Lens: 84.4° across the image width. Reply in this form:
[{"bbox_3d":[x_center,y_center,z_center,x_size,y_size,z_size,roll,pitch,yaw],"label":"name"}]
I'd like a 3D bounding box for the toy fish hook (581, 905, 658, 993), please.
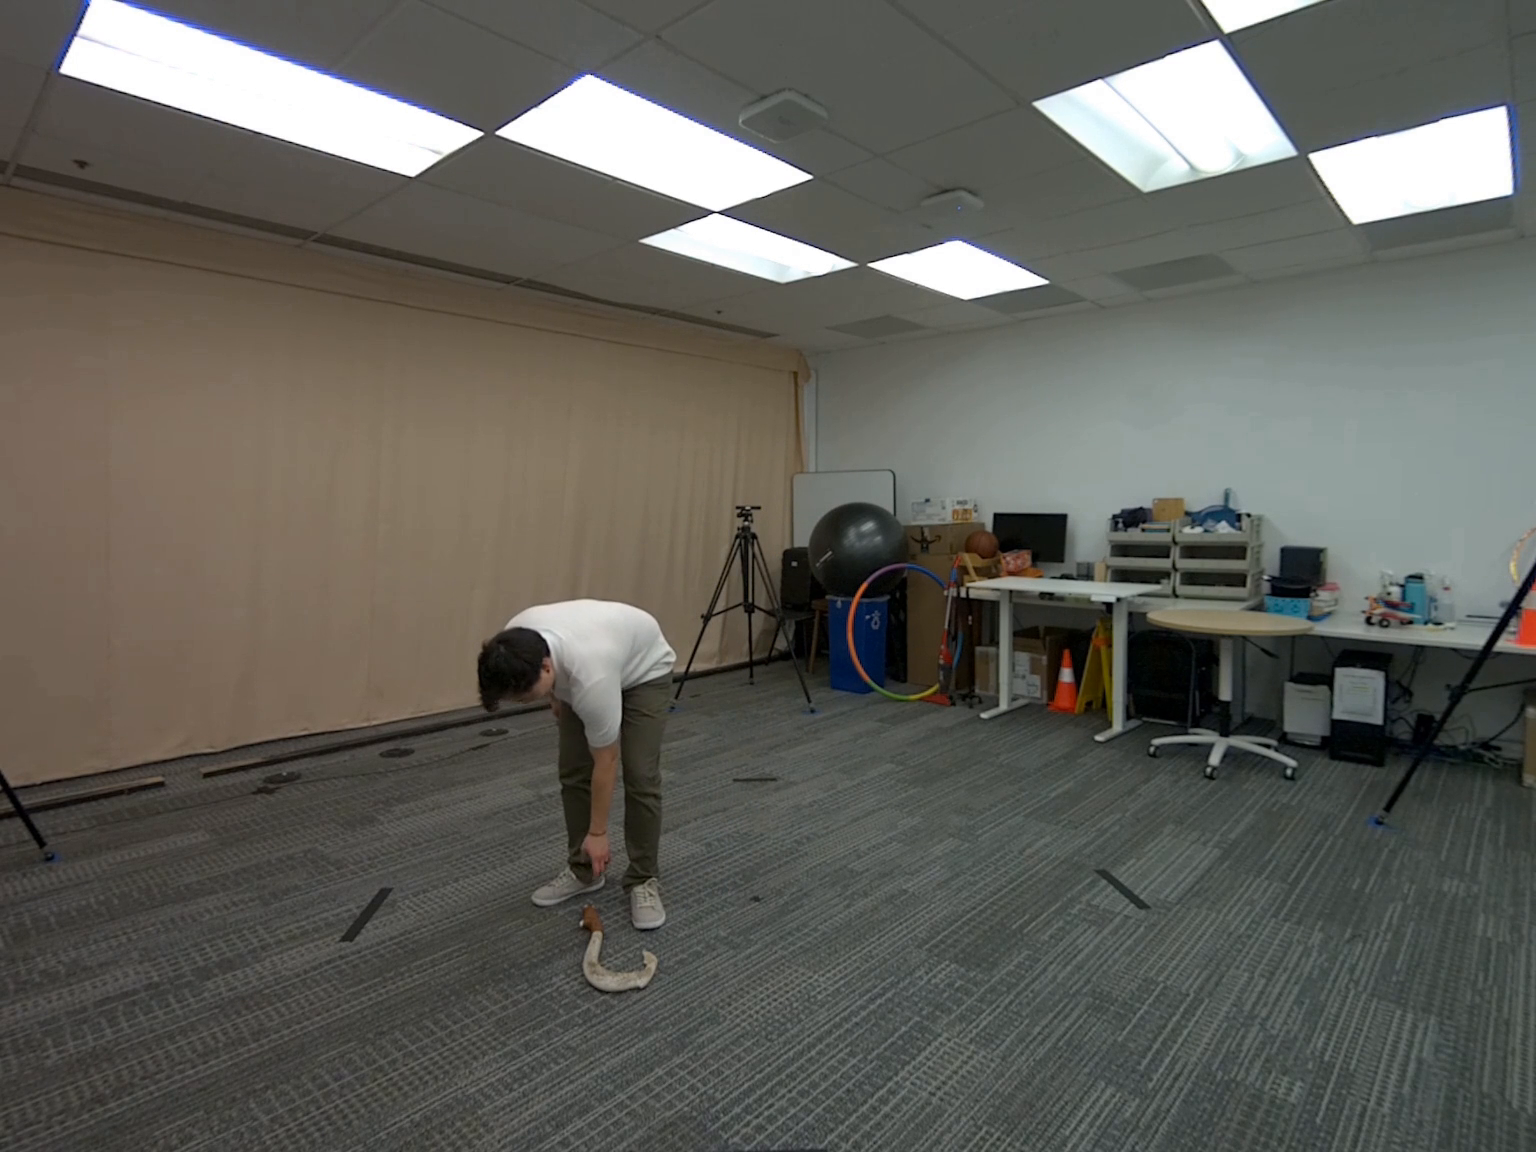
[{"bbox_3d":[-0.479,1.158,2.646,0.220,0.048,0.517,7,3,-18],"label":"toy fish hook"}]
